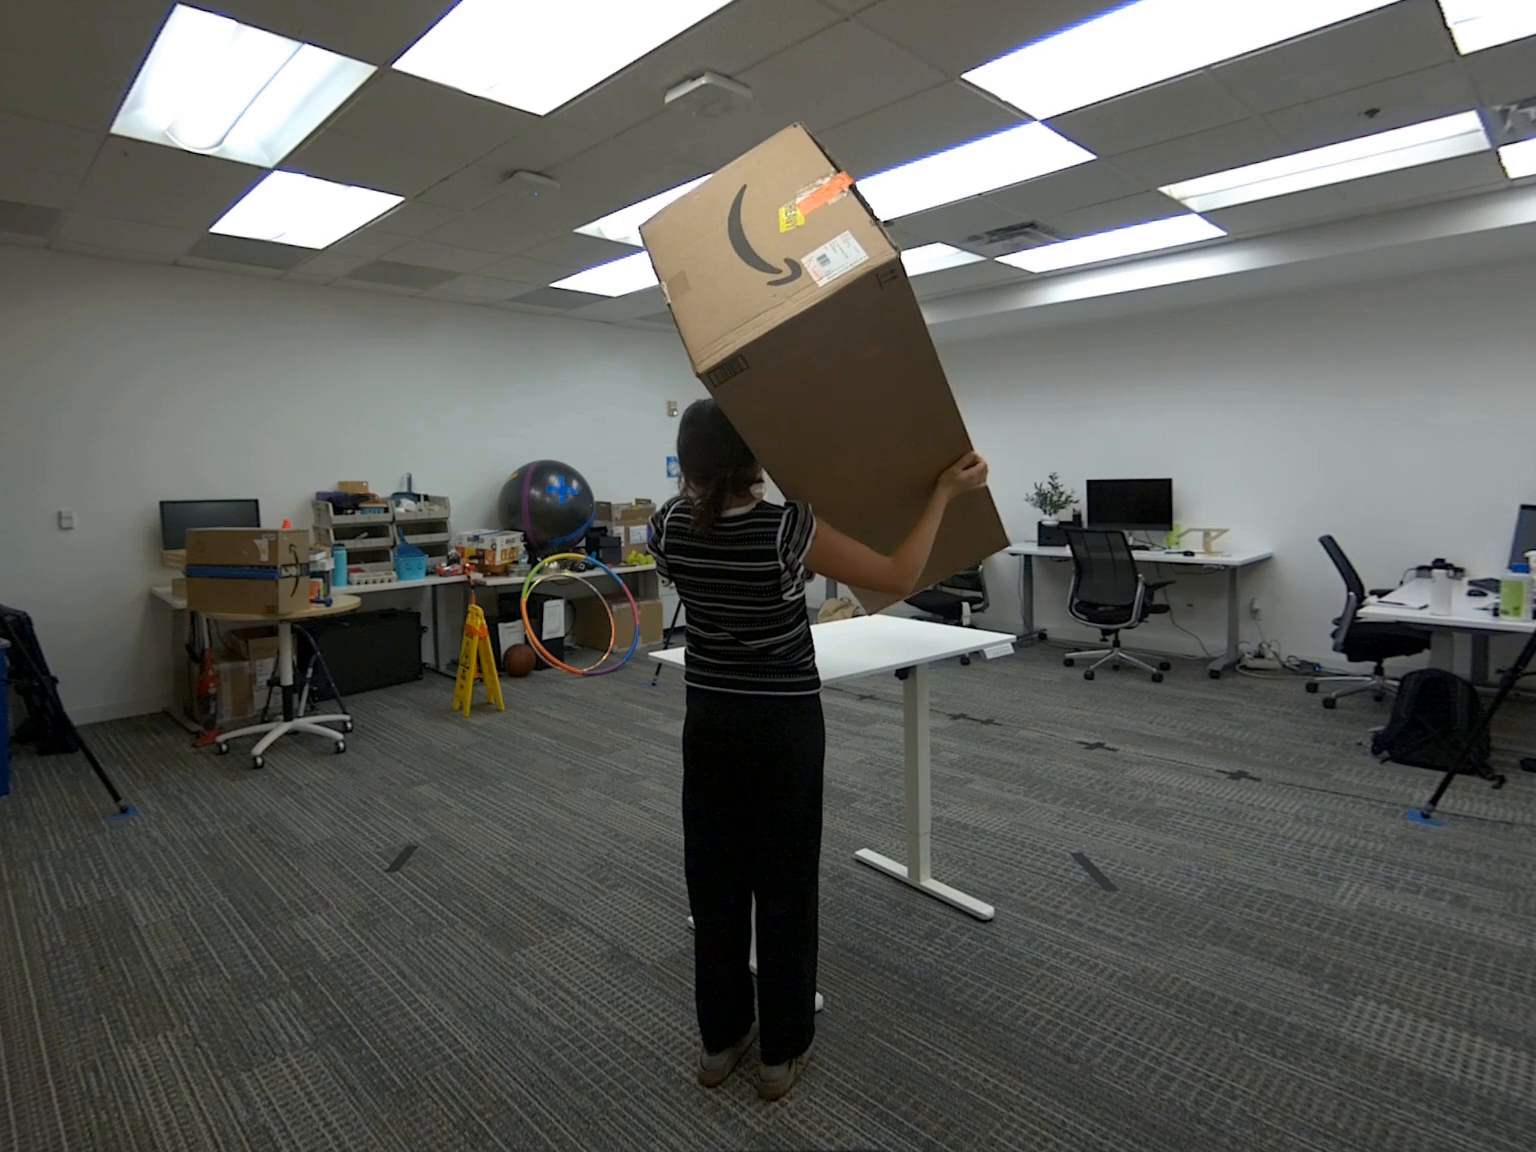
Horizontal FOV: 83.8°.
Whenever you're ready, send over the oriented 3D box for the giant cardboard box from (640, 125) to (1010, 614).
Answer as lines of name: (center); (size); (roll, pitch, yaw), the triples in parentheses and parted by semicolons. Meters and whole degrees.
giant cardboard box: (0.181, -0.436, 2.088); (0.428, 0.598, 0.986); (-29, -39, 9)
